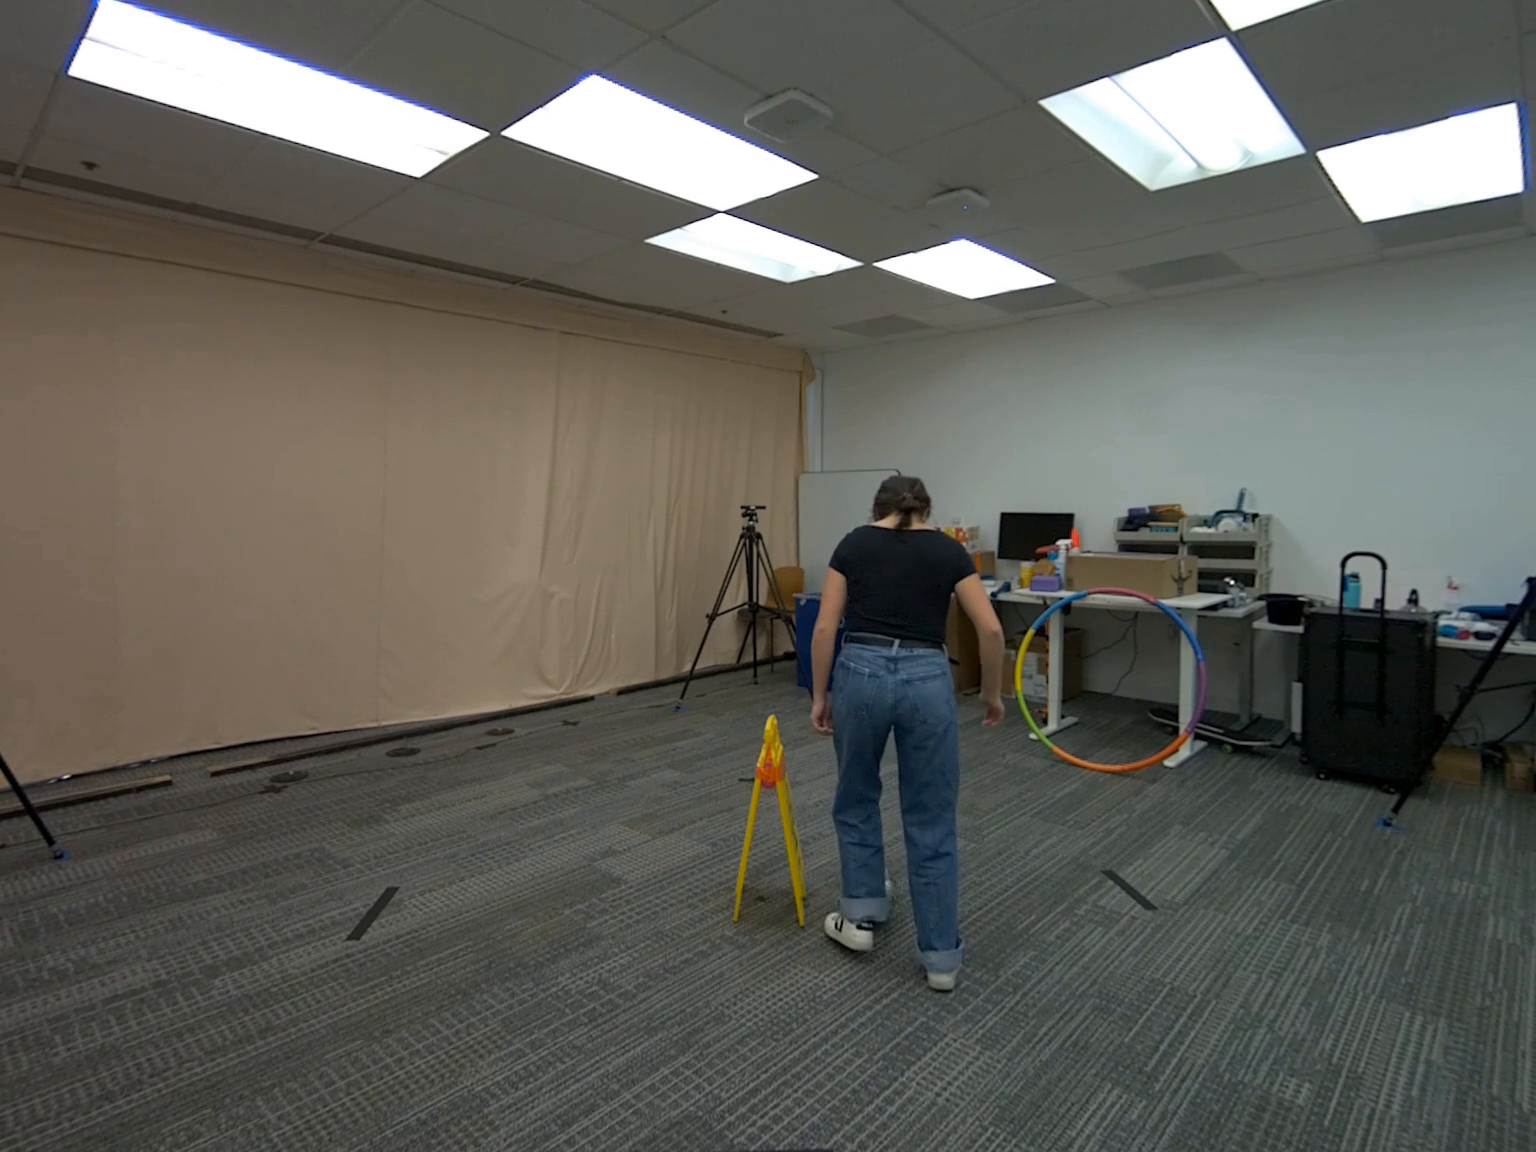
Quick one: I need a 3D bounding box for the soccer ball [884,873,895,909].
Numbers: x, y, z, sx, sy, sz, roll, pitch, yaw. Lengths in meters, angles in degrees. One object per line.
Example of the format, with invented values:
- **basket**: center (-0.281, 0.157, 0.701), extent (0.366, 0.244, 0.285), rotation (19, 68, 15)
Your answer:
- **soccer ball**: center (0.367, 1.065, 2.825), extent (0.187, 0.187, 0.188), rotation (0, 4, -2)
